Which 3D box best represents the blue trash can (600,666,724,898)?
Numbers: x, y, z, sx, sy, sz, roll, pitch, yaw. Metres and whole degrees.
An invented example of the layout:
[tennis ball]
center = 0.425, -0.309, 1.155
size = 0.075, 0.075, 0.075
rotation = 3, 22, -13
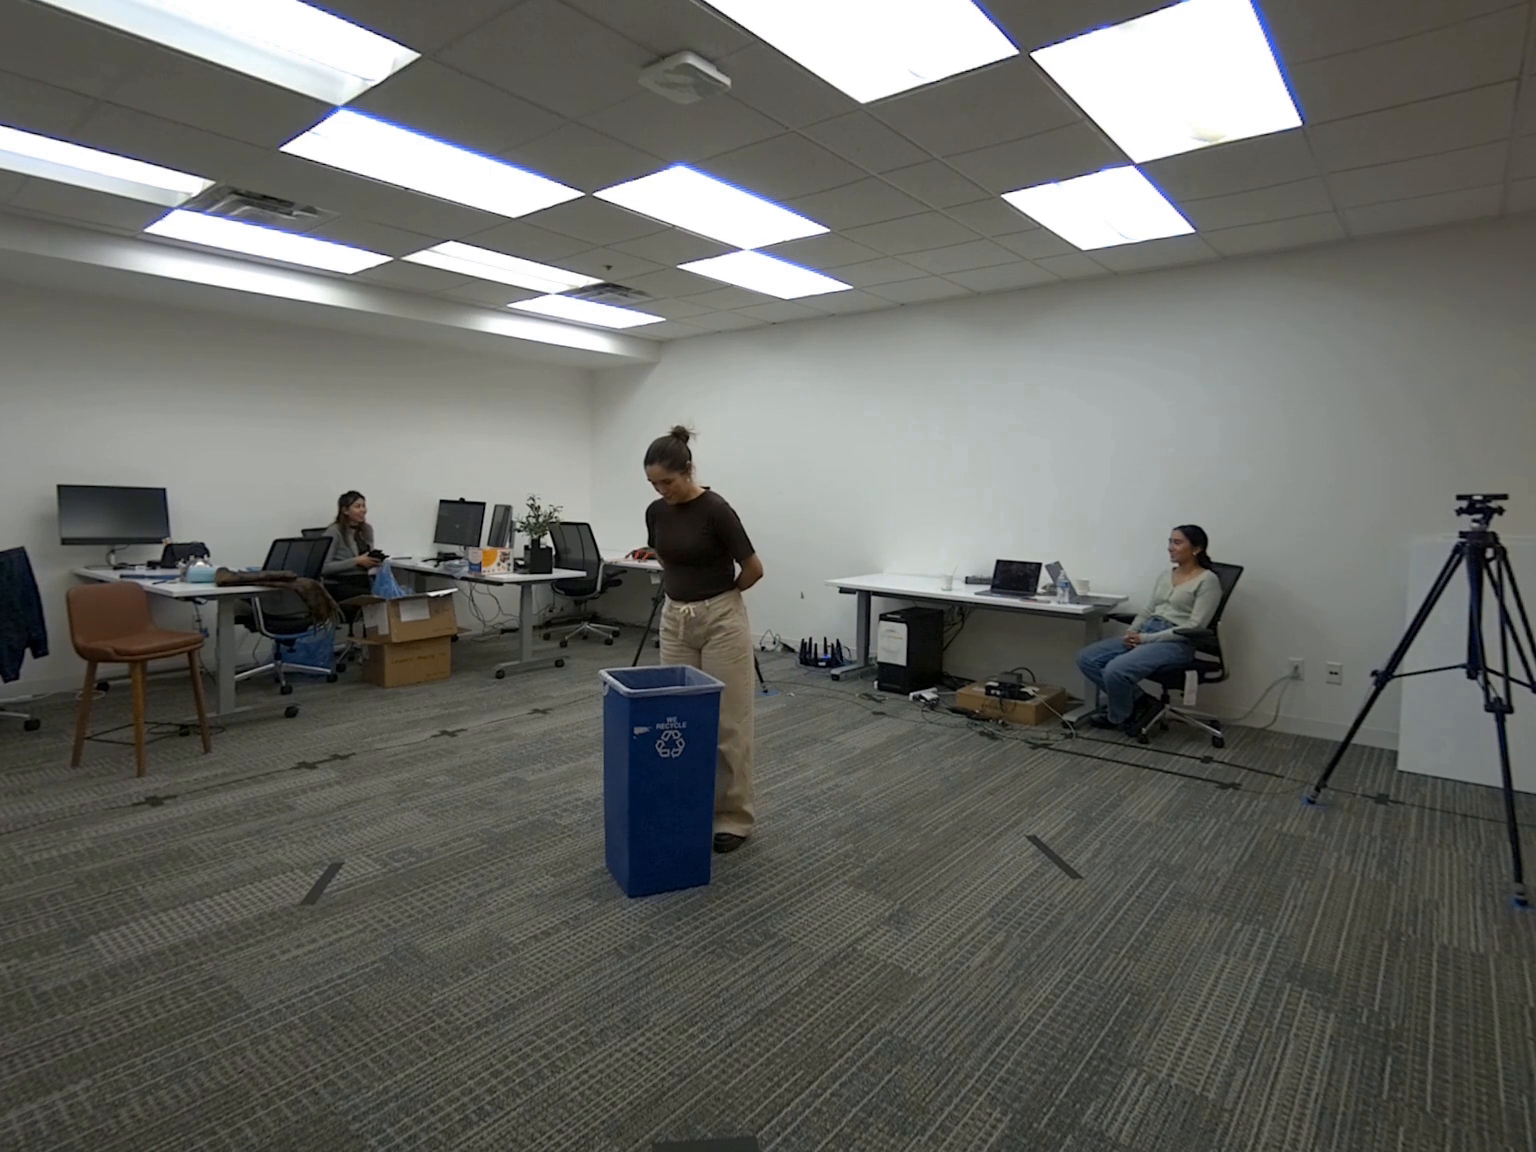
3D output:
[blue trash can]
center = -0.396, 0.710, 3.034
size = 0.369, 0.712, 0.384
rotation = 0, 3, -26
